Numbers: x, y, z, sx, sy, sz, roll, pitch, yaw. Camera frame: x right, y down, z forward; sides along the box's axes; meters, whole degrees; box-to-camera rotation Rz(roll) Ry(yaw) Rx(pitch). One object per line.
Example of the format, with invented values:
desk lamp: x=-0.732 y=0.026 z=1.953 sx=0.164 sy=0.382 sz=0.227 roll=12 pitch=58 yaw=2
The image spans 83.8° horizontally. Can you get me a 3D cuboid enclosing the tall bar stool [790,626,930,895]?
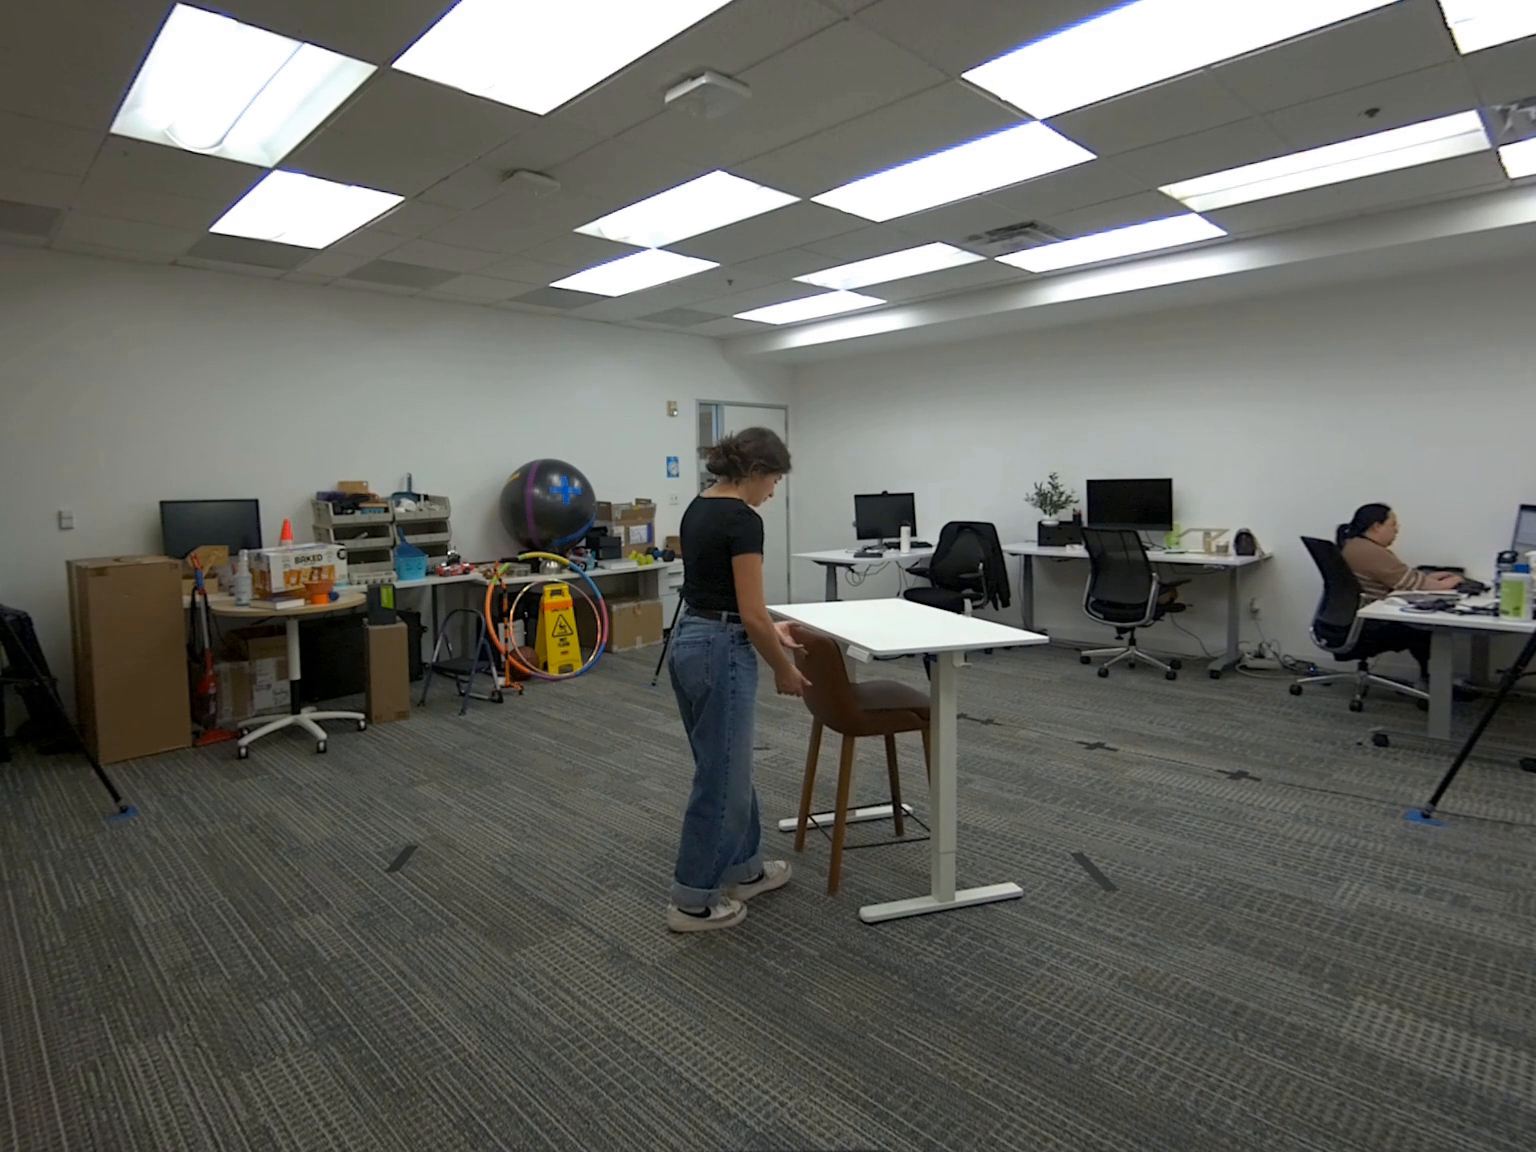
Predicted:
tall bar stool: x=0.353 y=0.610 z=3.069 sx=0.461 sy=0.886 sz=0.464 roll=-4 pitch=5 yaw=-15
